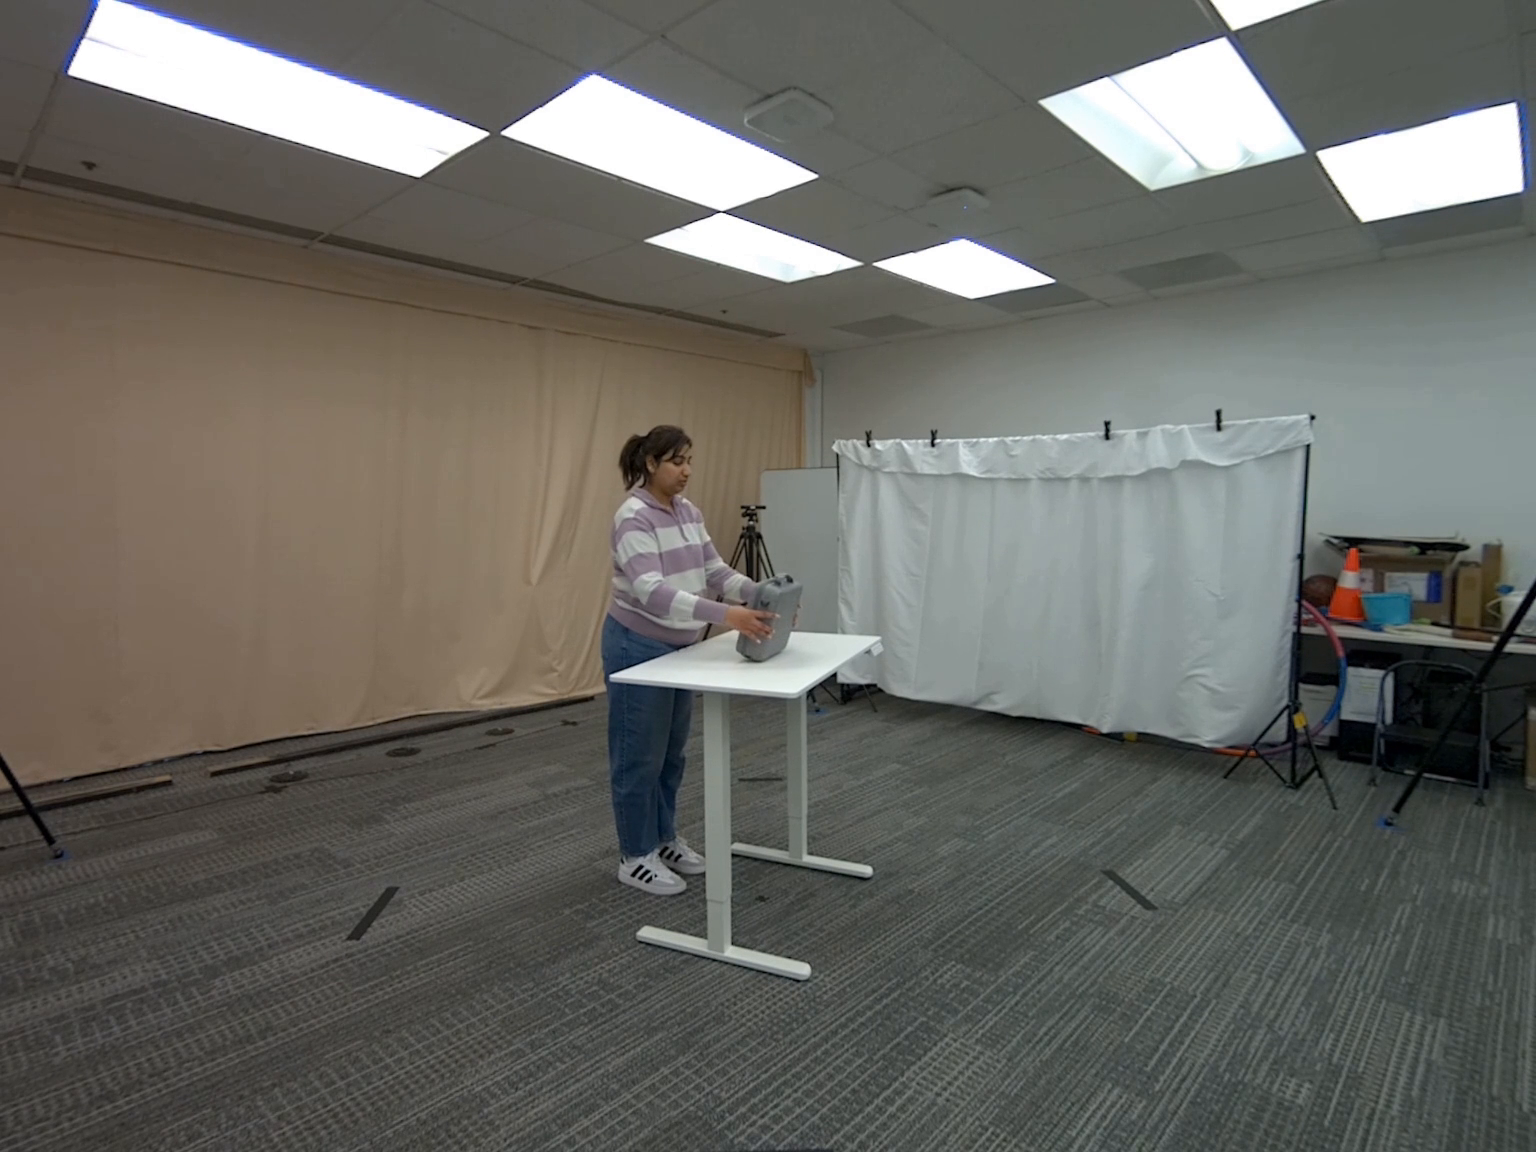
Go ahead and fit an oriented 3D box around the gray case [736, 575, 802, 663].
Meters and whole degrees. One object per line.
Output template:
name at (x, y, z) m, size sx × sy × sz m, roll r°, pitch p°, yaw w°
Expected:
gray case at (0.010, 0.134, 2.819) m, size 0.107 × 0.259 × 0.252 m, roll 17°, pitch 13°, yaw 20°
